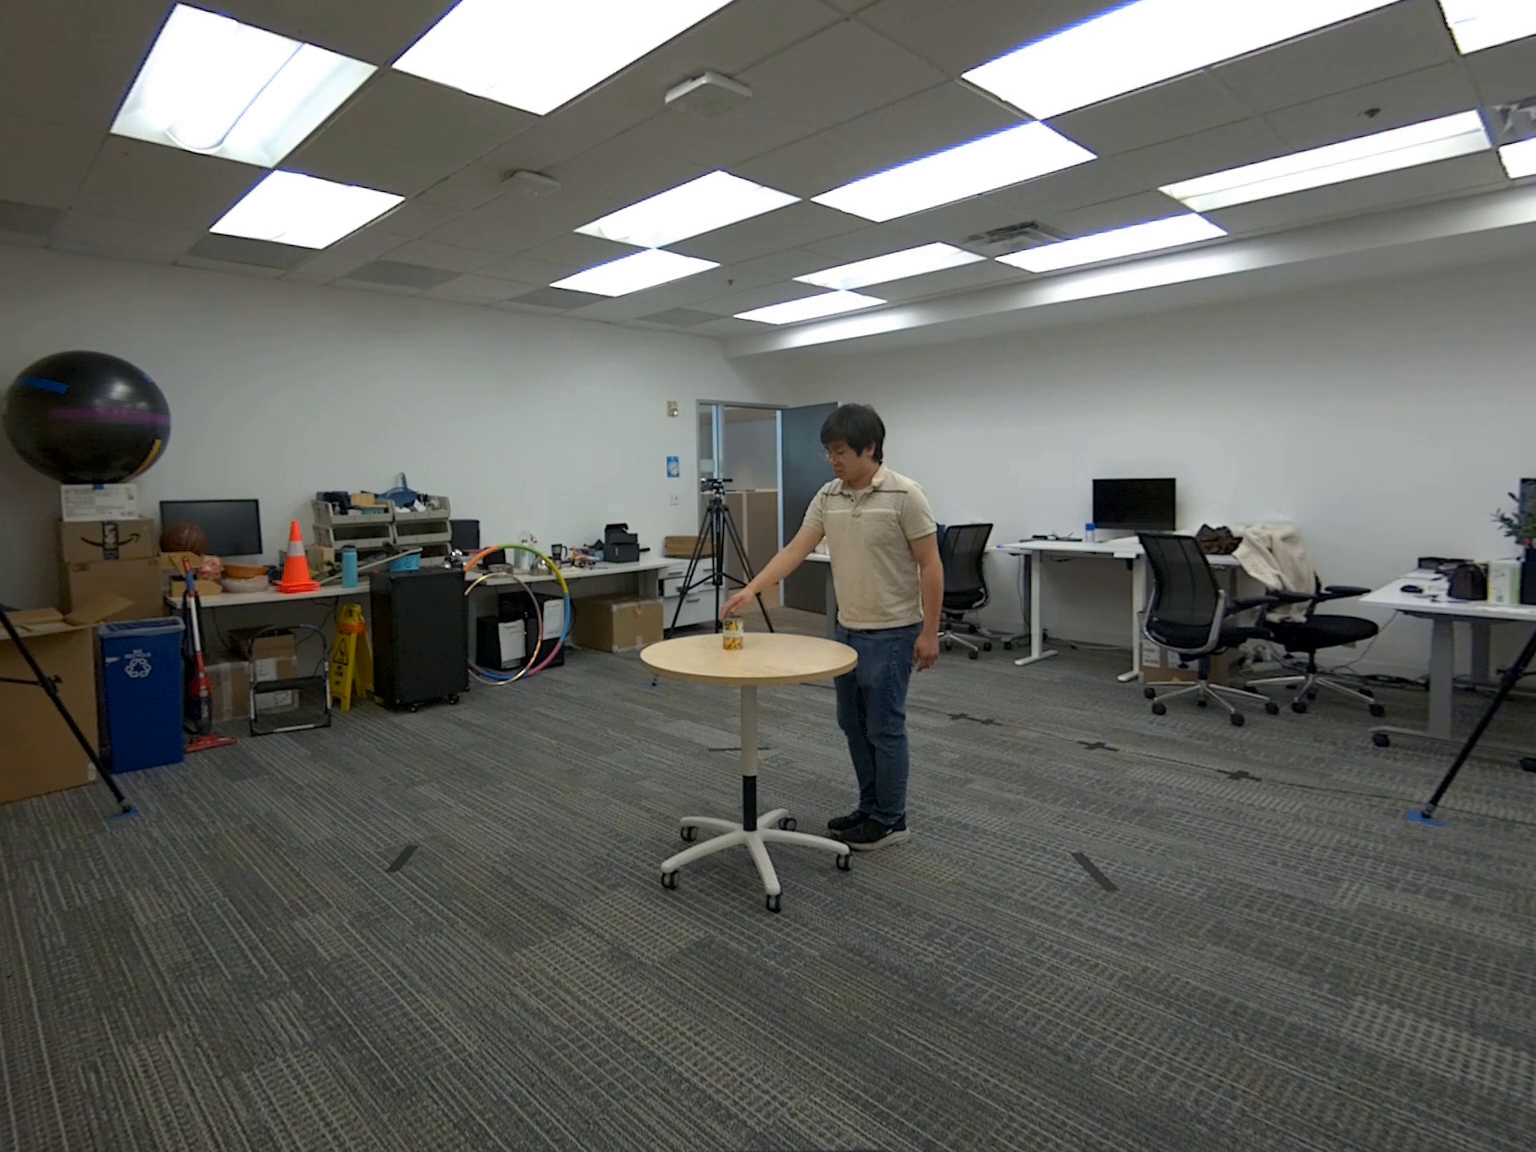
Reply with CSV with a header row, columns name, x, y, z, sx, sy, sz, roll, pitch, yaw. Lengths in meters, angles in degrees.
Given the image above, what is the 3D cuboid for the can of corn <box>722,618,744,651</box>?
name,x,y,z,sx,sy,sz,roll,pitch,yaw
can of corn,-0.118,0.207,3.106,0.074,0.111,0.074,1,3,-2
